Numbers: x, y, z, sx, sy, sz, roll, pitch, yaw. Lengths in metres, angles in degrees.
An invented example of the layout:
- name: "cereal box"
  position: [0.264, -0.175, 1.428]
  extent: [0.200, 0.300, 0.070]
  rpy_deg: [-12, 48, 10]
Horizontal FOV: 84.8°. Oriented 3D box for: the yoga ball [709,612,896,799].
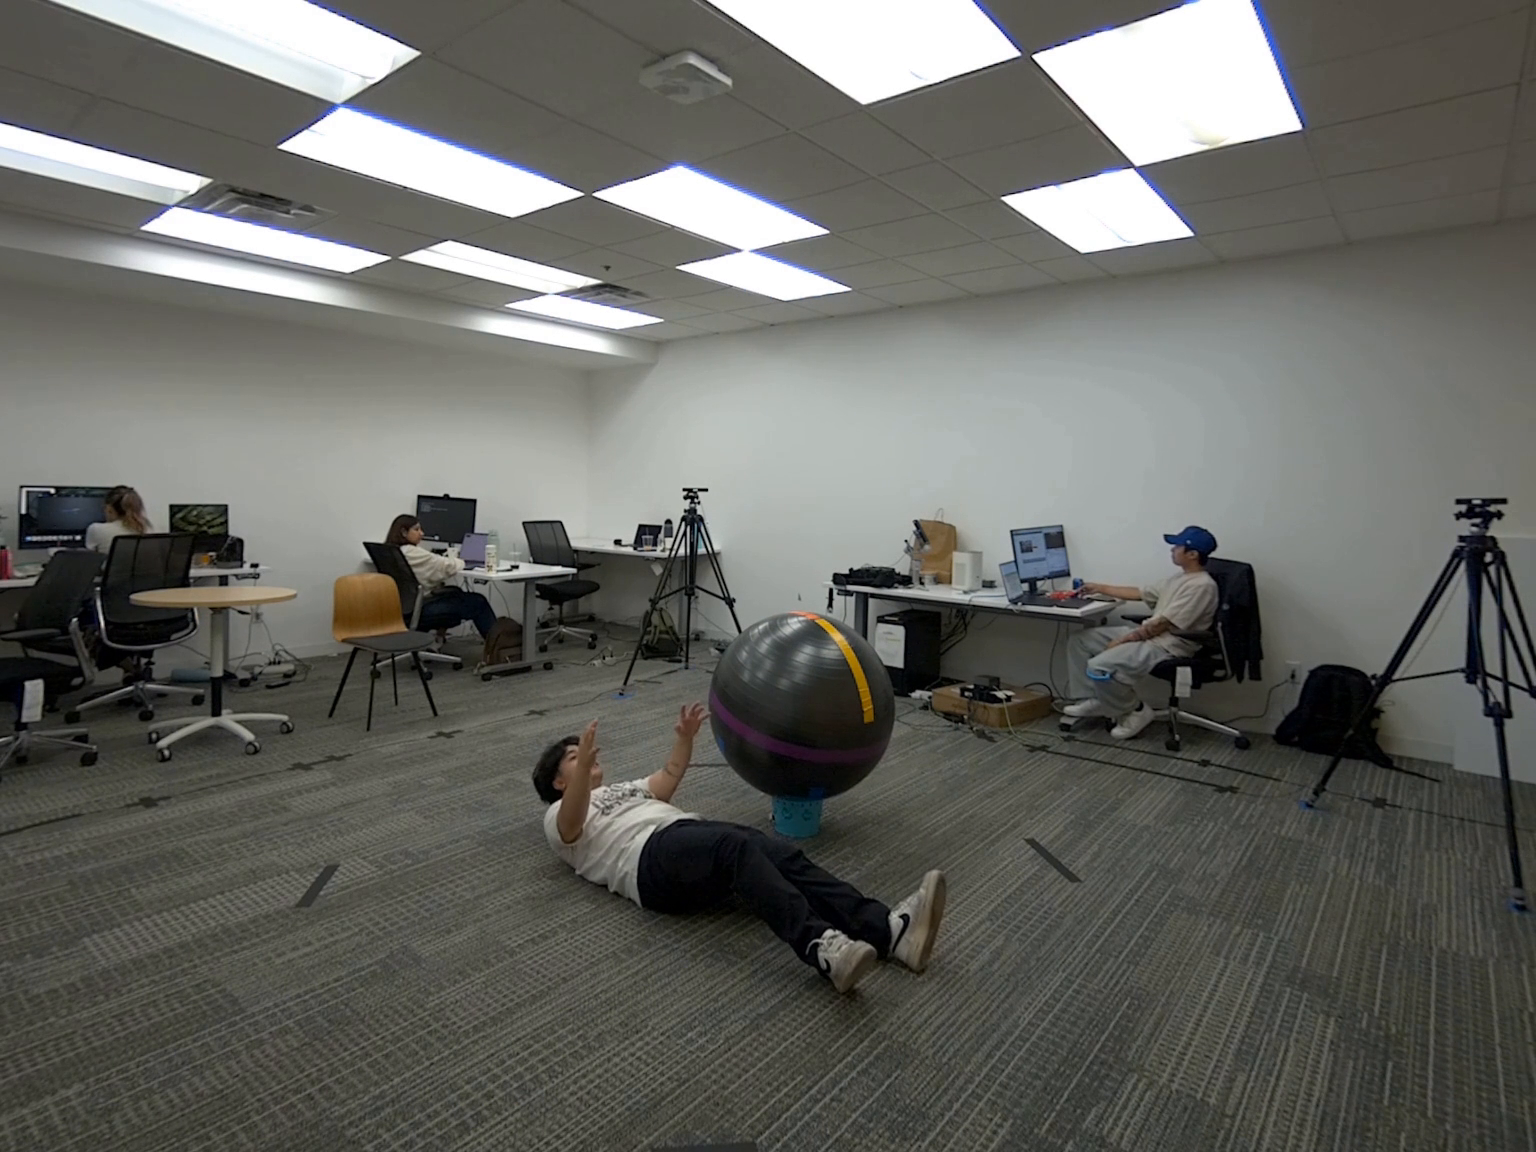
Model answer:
- name: "yoga ball"
  position: [0.144, 0.531, 3.496]
  extent: [0.757, 0.756, 0.761]
  rpy_deg: [1, 4, -2]
